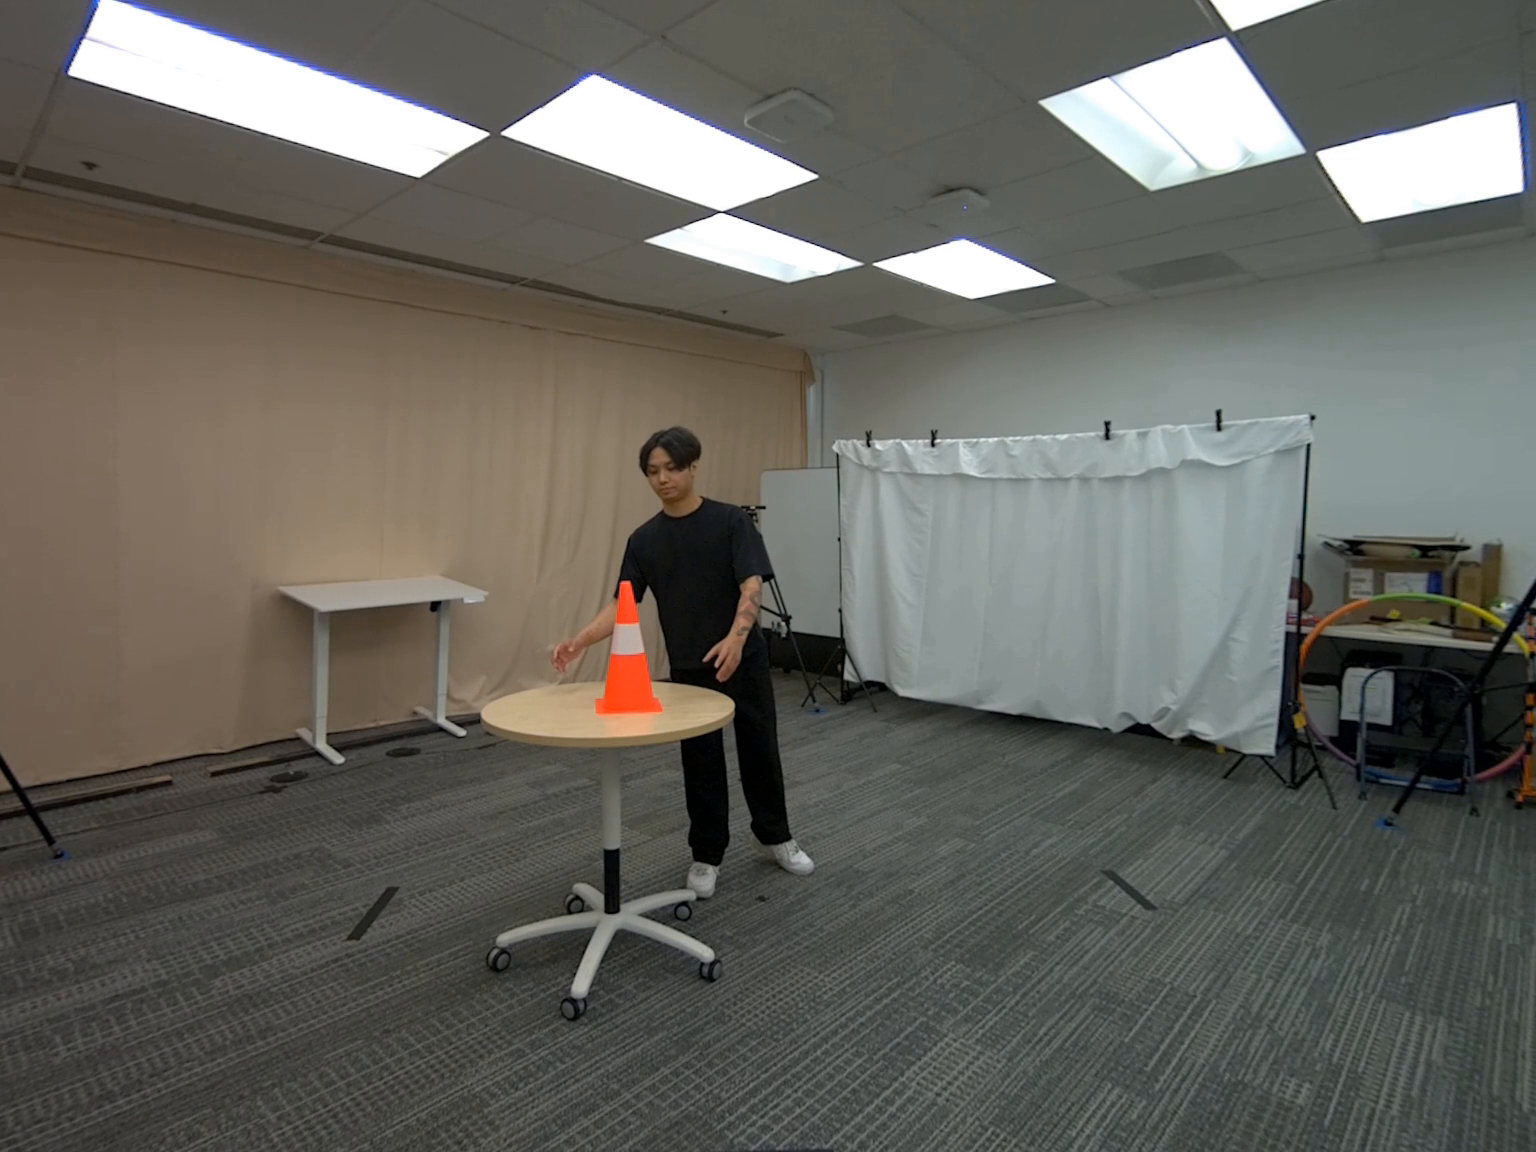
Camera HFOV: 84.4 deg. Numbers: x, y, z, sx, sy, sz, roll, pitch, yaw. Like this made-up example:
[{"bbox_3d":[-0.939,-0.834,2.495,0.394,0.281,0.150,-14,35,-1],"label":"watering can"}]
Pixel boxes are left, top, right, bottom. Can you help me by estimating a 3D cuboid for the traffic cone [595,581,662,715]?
[{"bbox_3d":[-0.428,0.214,2.561,0.201,0.383,0.207,0,3,-11],"label":"traffic cone"}]
